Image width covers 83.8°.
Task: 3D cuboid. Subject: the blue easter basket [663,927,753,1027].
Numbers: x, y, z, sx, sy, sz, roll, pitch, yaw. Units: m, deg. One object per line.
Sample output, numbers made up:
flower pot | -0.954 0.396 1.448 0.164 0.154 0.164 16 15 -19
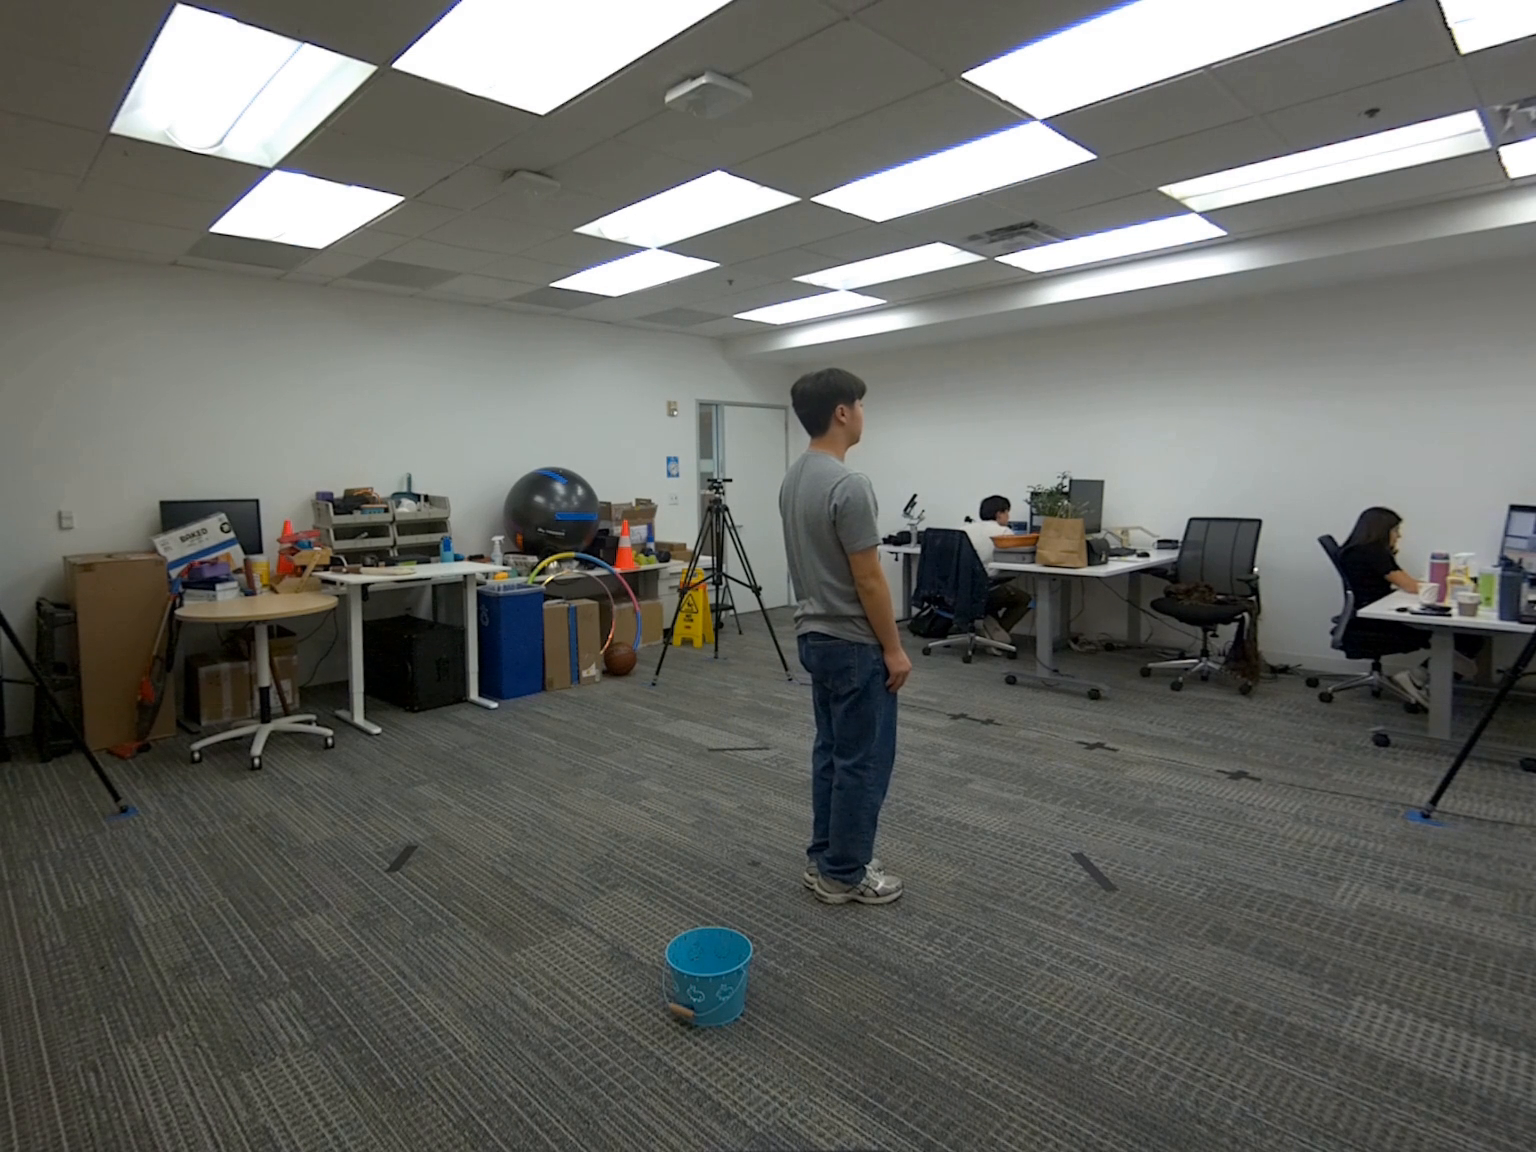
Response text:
blue easter basket | -0.157 1.067 2.276 0.243 0.155 0.245 -2 5 -2
